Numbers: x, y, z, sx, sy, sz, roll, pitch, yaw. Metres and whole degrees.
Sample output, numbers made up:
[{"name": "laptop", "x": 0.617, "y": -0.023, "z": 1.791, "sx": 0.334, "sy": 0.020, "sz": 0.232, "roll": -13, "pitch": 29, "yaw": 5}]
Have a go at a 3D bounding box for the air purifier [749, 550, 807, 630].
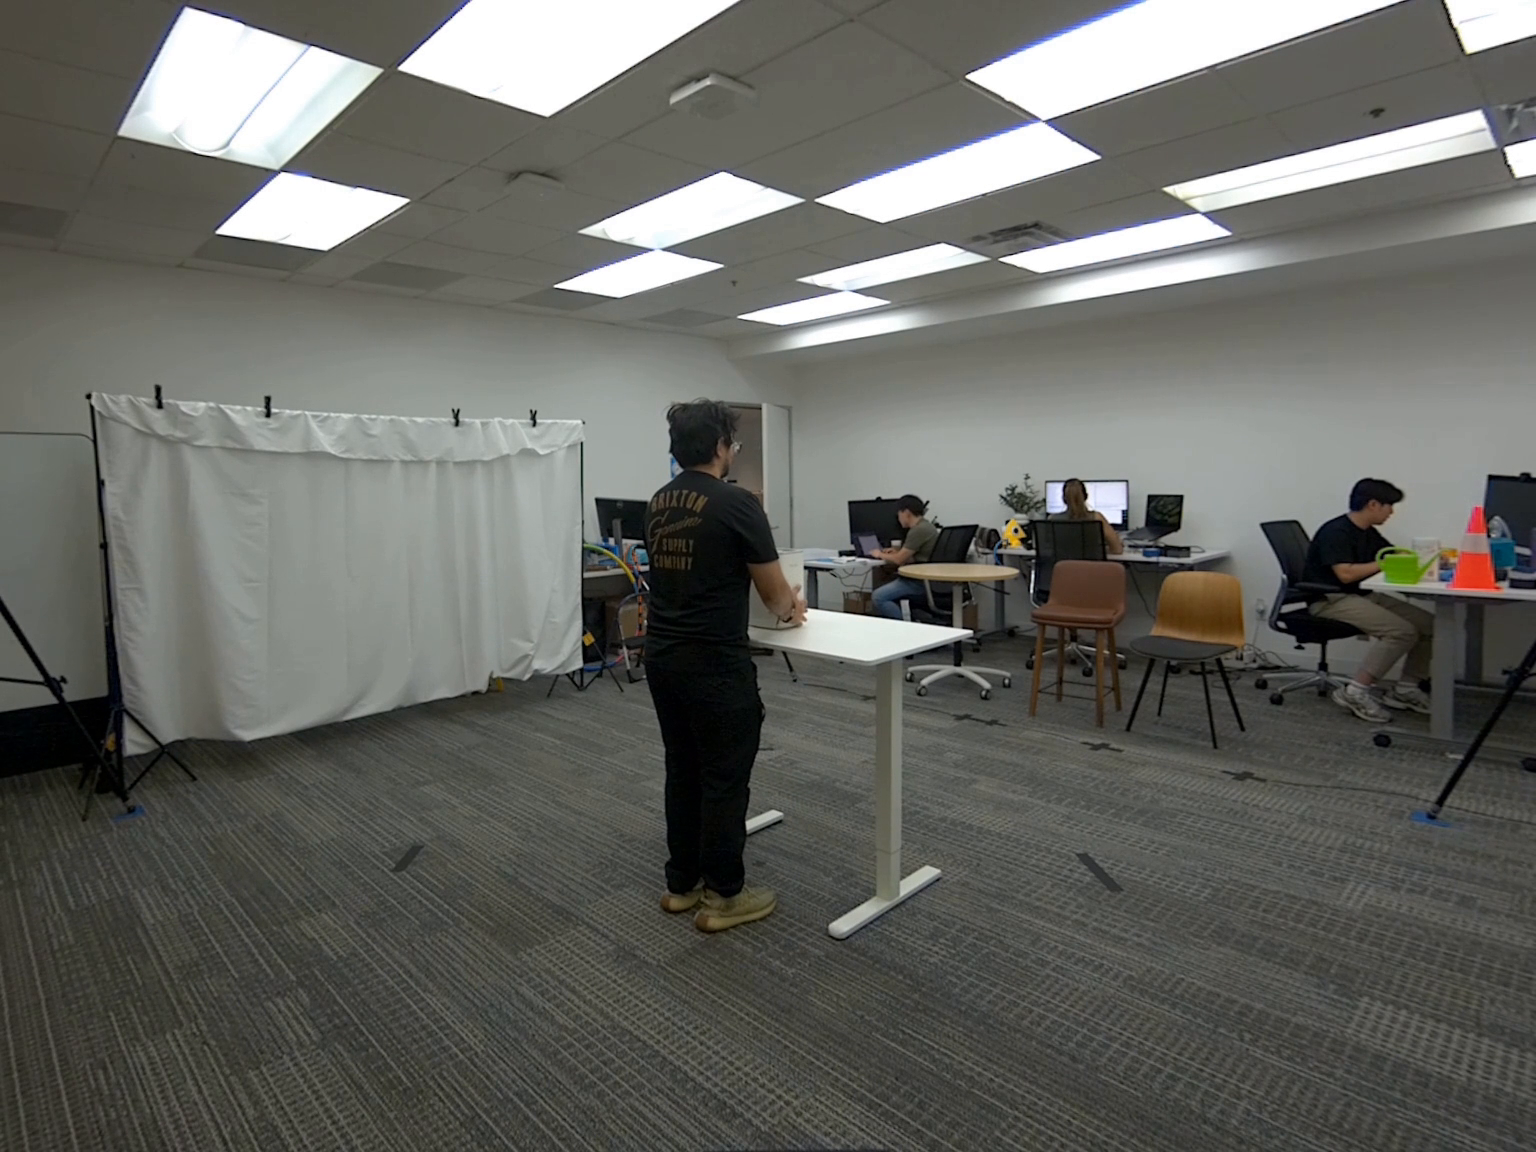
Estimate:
[{"name": "air purifier", "x": 0.032, "y": 0.037, "z": 2.995, "sx": 0.177, "sy": 0.264, "sz": 0.167, "roll": 4, "pitch": 7, "yaw": 42}]
